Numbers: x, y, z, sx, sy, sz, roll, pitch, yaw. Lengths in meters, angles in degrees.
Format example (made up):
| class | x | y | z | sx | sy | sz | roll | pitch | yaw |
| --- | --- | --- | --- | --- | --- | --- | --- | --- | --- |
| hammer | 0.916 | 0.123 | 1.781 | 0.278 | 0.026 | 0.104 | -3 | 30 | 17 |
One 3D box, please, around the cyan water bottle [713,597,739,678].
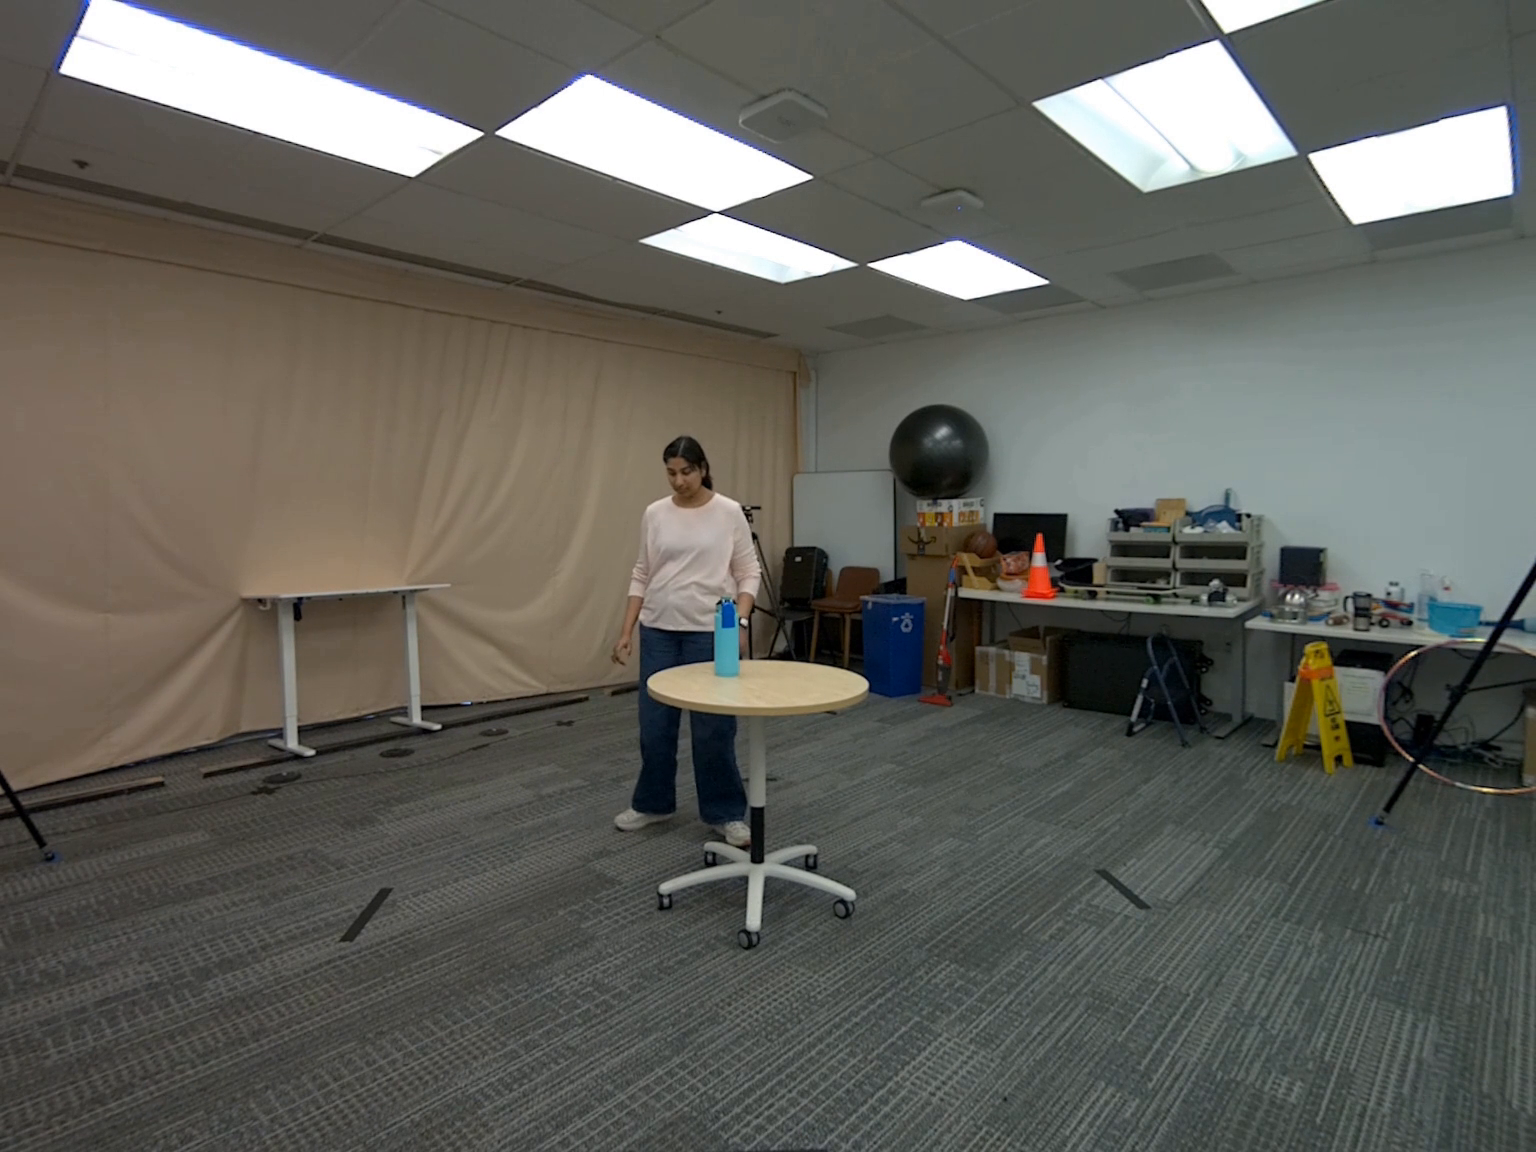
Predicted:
| class | x | y | z | sx | sy | sz | roll | pitch | yaw |
| --- | --- | --- | --- | --- | --- | --- | --- | --- | --- |
| cyan water bottle | -0.145 | 0.214 | 3.032 | 0.092 | 0.283 | 0.092 | 0 | 3 | -2 |
